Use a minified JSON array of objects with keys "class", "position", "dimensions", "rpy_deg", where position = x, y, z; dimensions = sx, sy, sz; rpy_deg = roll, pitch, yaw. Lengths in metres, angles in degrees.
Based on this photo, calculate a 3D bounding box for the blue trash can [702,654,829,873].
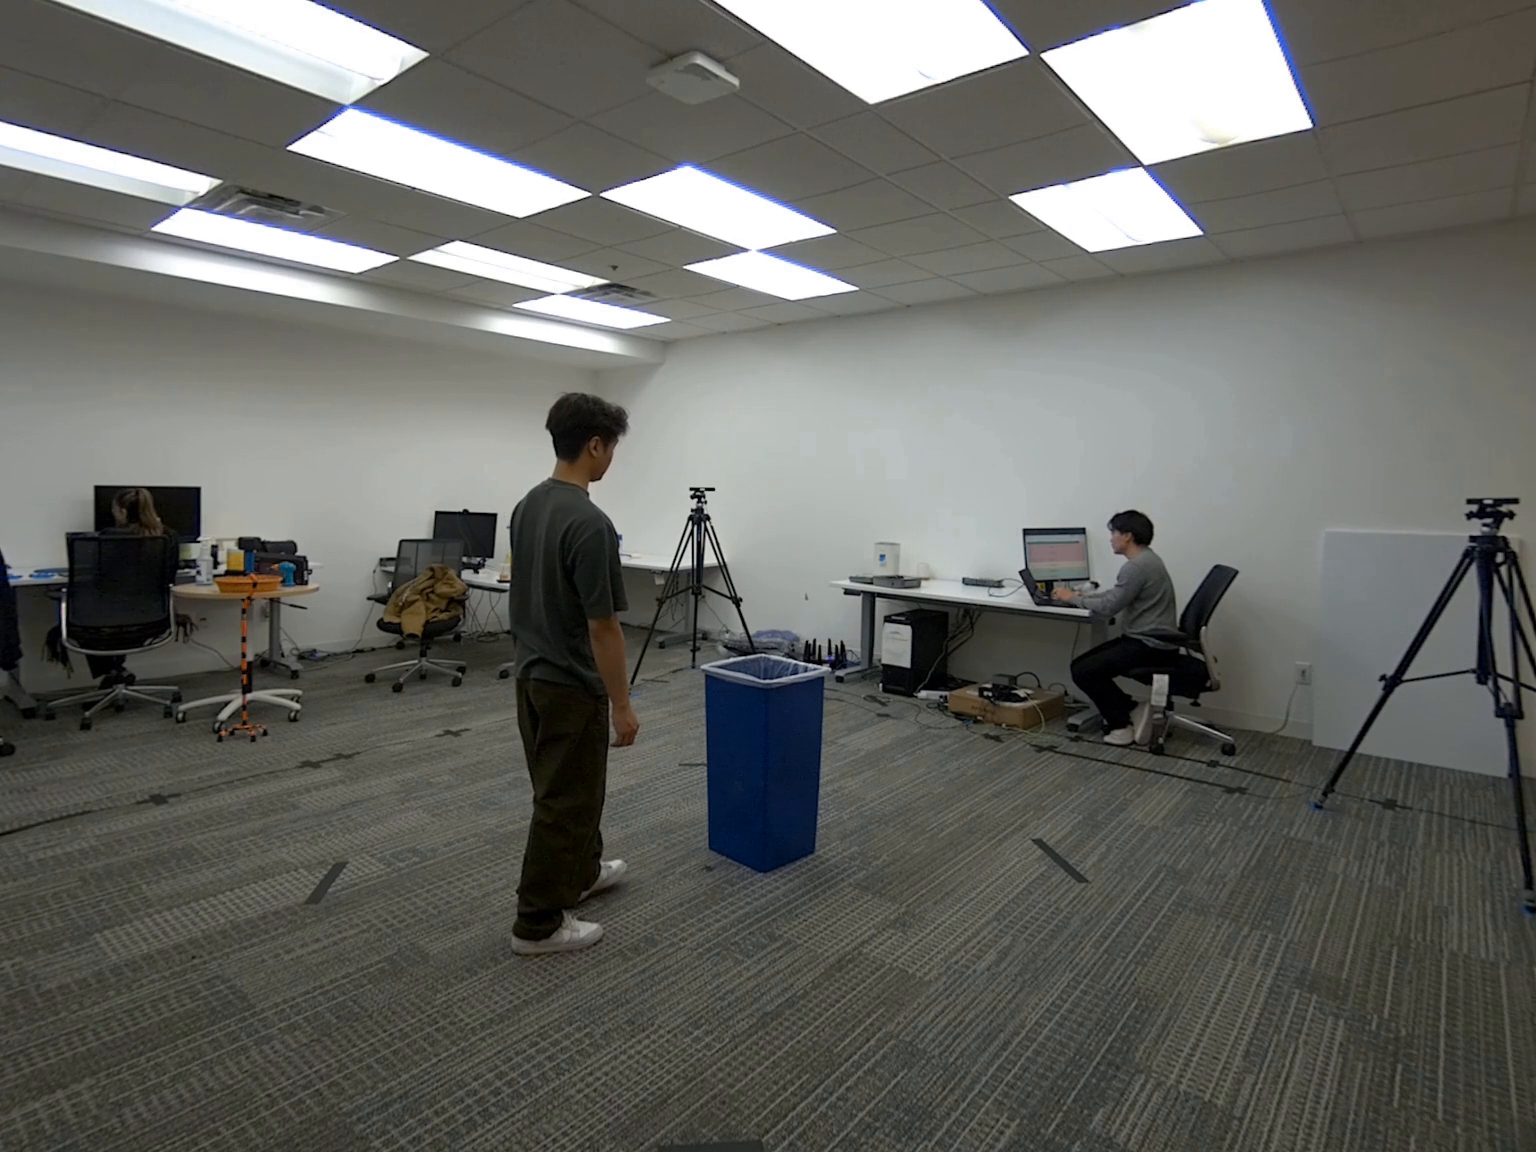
[{"class":"blue trash can","position":[-0.034,0.697,3.267],"dimensions":[0.387,0.711,0.367],"rpy_deg":[5,5,43]}]
